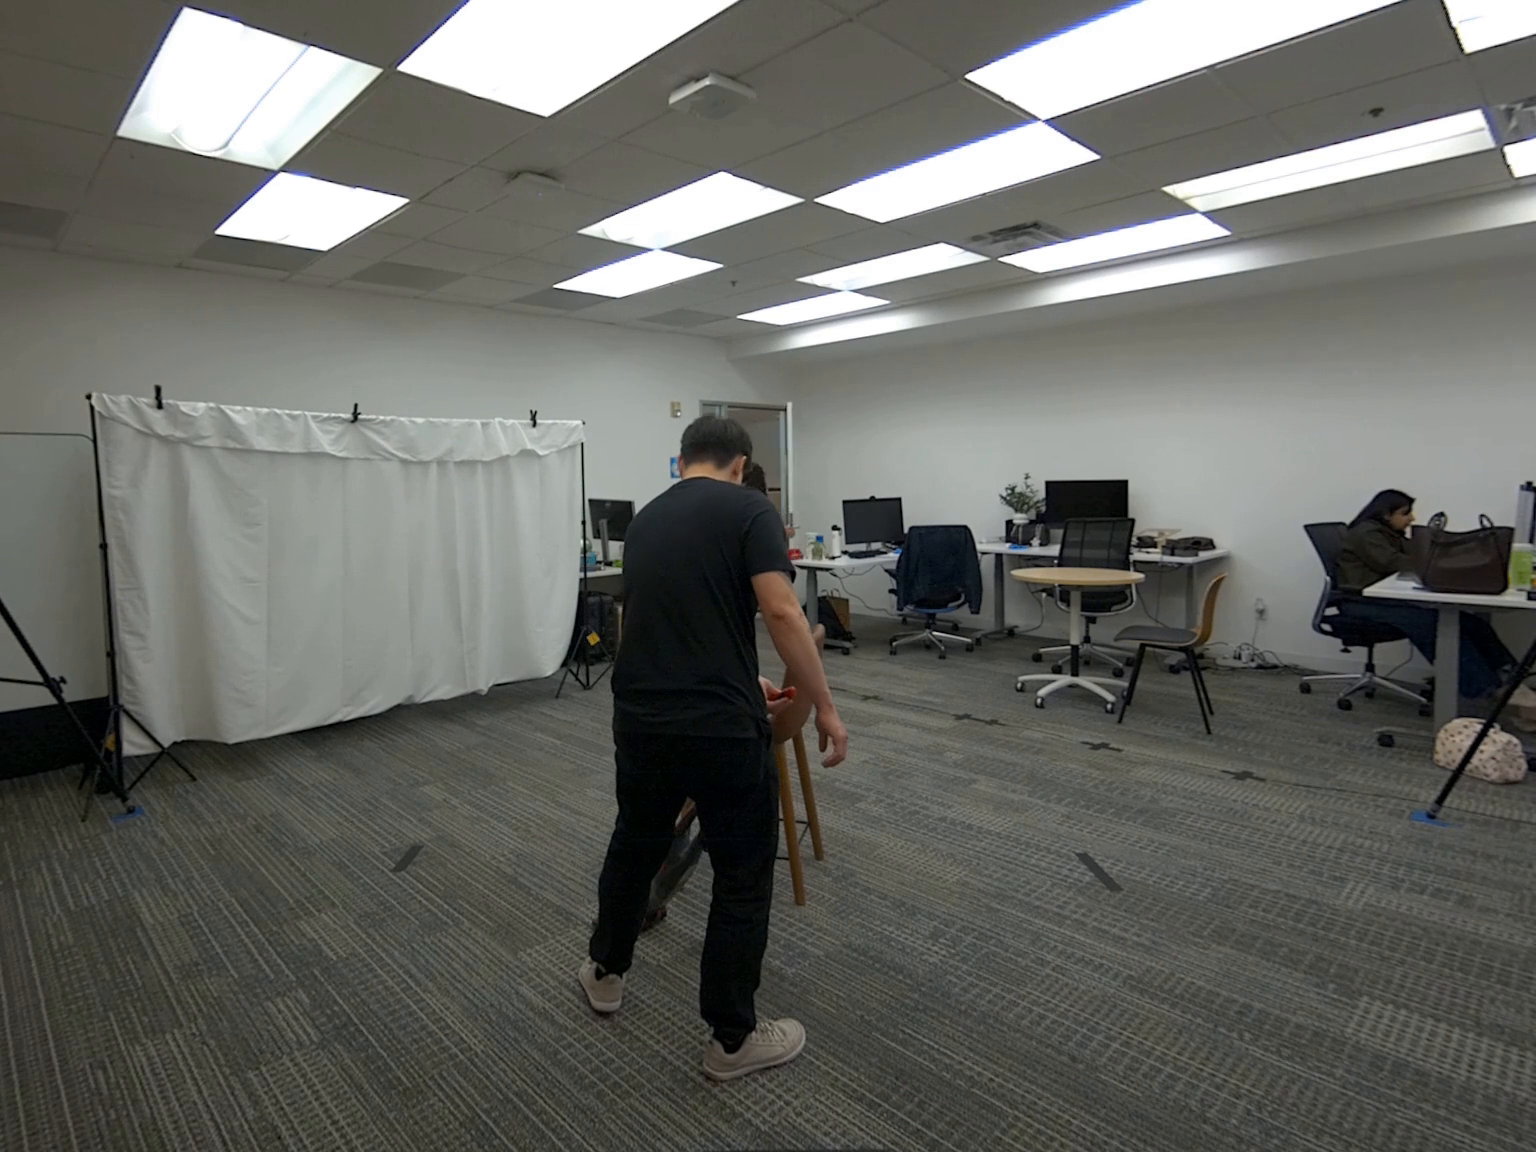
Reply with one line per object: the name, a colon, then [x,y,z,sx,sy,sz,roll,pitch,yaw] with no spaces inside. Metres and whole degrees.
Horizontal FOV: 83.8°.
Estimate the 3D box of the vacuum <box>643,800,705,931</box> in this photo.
vacuum: [-0.187,0.703,2.476,0.246,1.042,0.149,-6,47,-49]
